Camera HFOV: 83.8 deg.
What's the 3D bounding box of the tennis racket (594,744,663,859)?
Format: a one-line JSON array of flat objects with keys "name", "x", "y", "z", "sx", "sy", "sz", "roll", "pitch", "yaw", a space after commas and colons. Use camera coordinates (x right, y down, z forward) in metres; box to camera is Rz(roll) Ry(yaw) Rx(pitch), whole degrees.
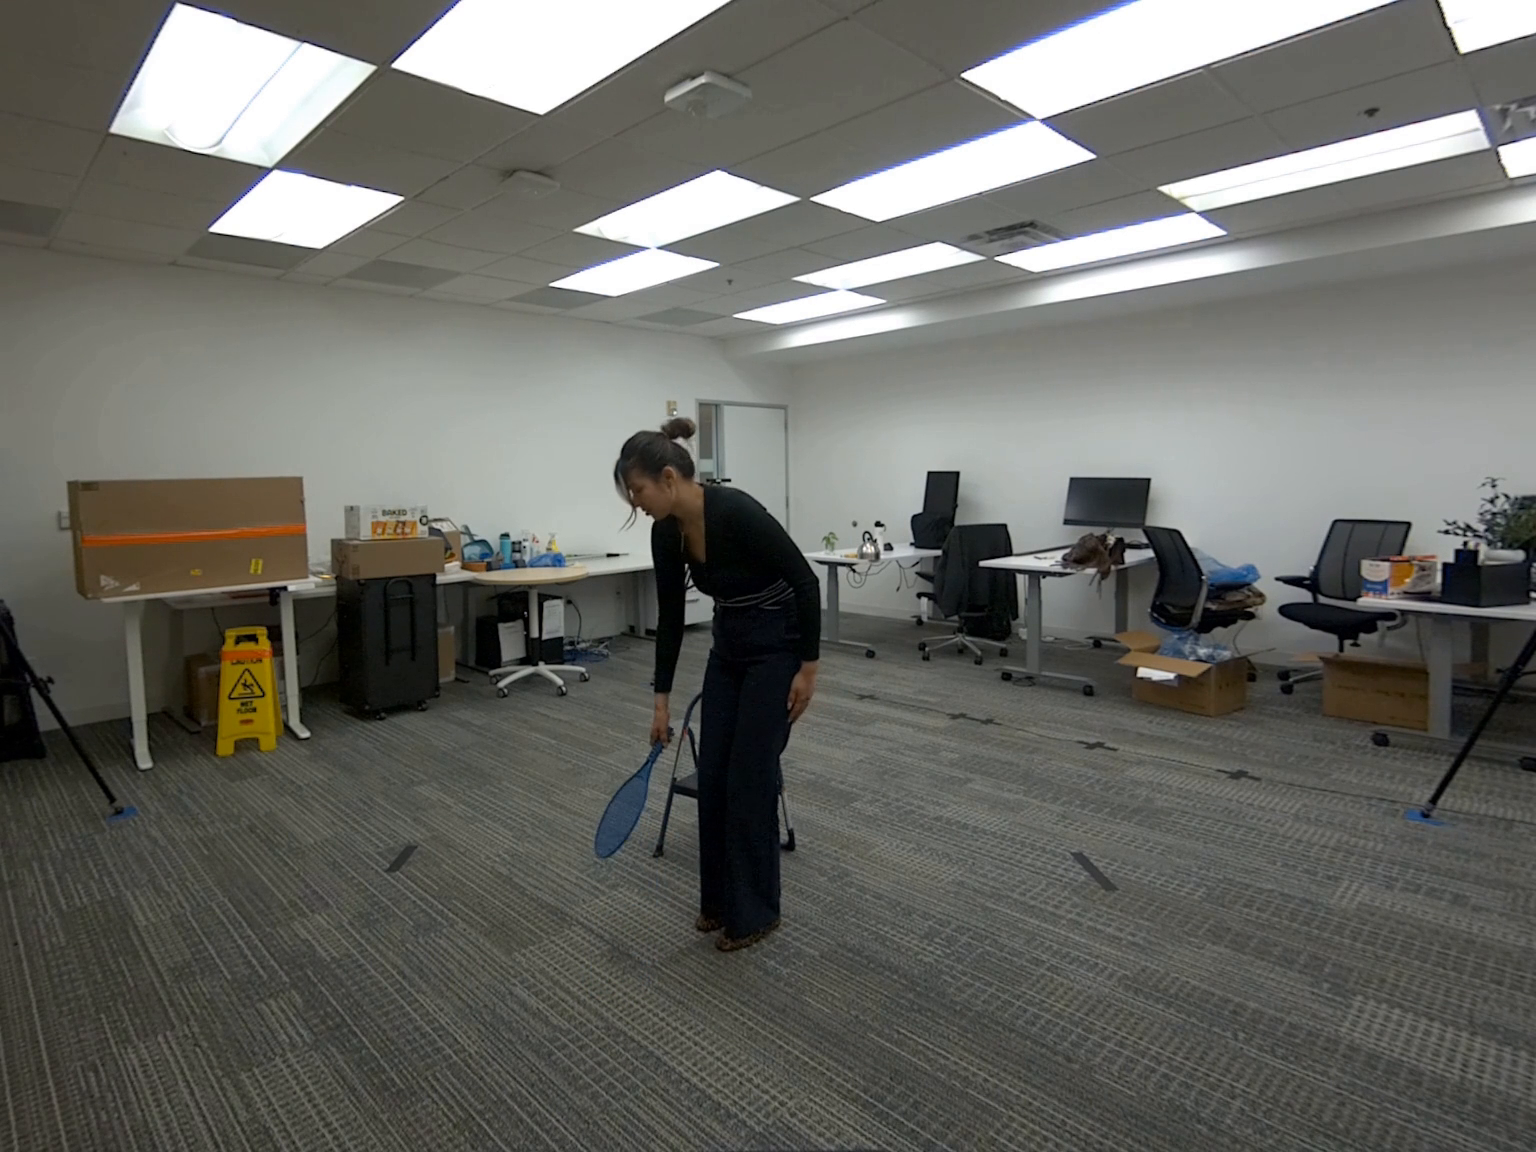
[{"name": "tennis racket", "x": -0.399, "y": 0.660, "z": 2.608, "sx": 0.031, "sy": 0.435, "sz": 0.219, "roll": 39, "pitch": -21, "yaw": -26}]
